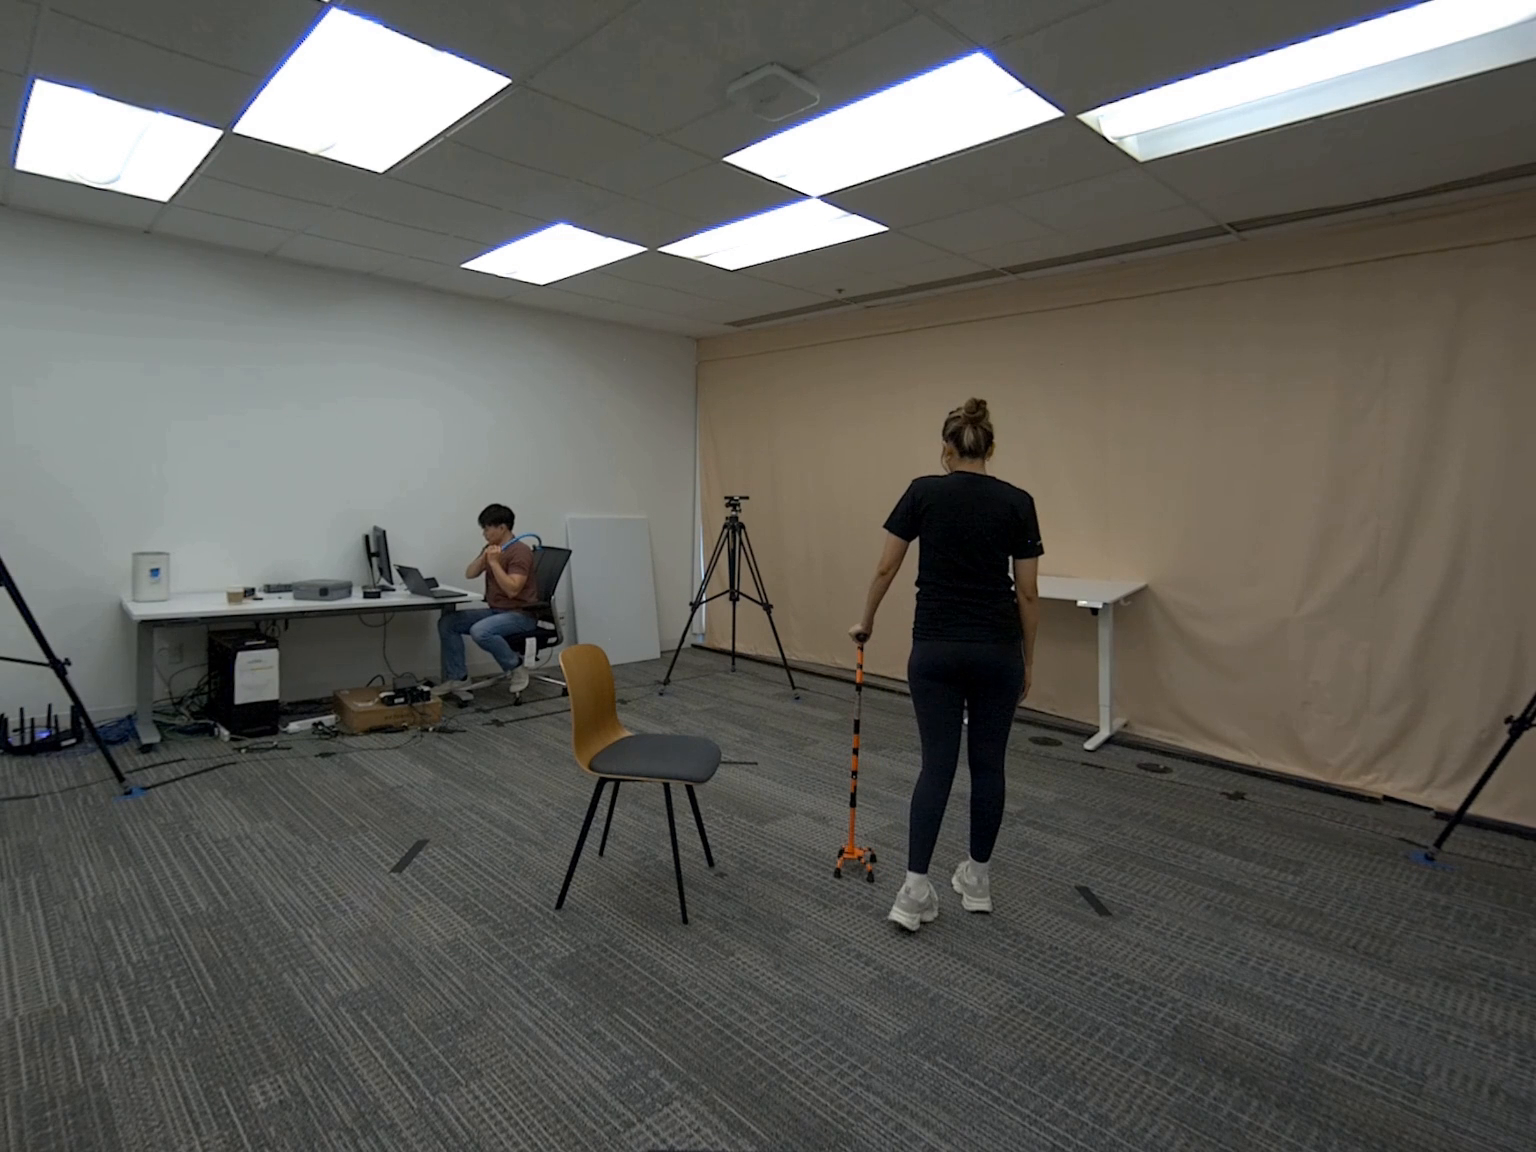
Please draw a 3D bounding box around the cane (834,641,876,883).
[{"bbox_3d":[0.337,0.652,3.164,0.153,0.906,0.205,2,2,8],"label":"cane"}]
